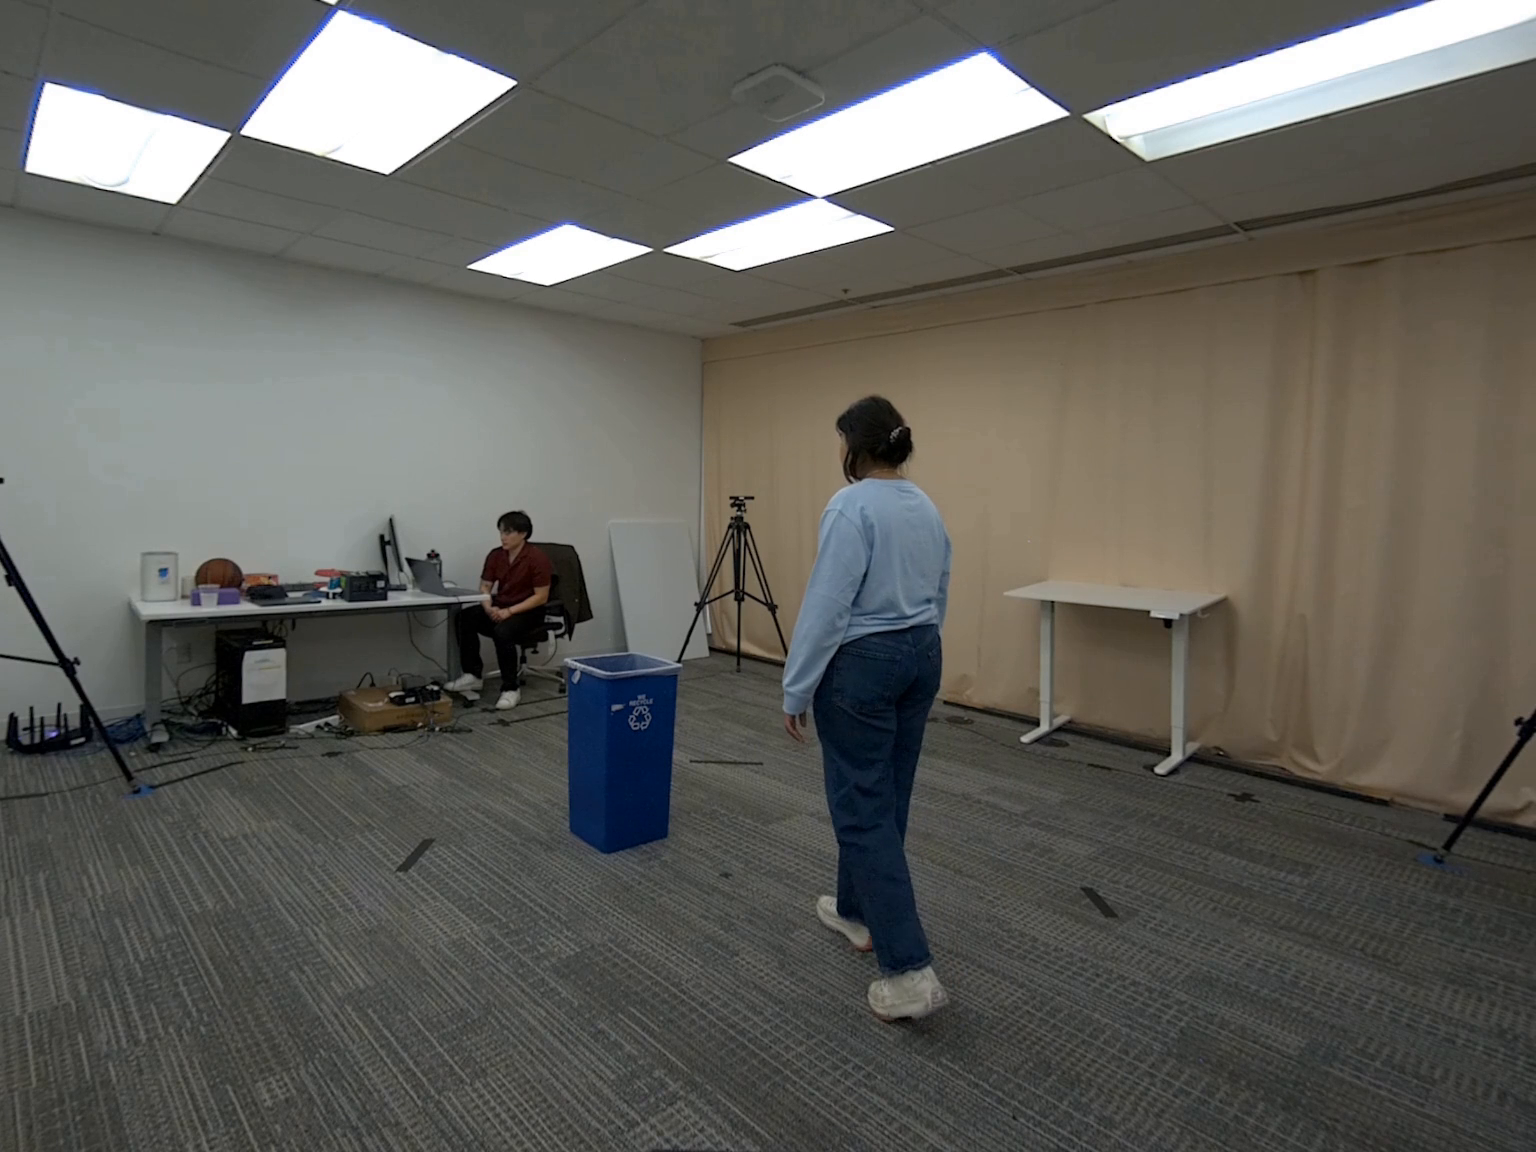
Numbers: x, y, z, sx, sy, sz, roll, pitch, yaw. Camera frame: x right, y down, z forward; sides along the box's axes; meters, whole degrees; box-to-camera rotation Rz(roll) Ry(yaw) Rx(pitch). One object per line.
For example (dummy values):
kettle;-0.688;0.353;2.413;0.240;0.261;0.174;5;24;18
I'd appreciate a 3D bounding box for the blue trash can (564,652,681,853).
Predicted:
blue trash can;-0.607;0.705;3.456;0.365;0.712;0.388;-1;4;-41
